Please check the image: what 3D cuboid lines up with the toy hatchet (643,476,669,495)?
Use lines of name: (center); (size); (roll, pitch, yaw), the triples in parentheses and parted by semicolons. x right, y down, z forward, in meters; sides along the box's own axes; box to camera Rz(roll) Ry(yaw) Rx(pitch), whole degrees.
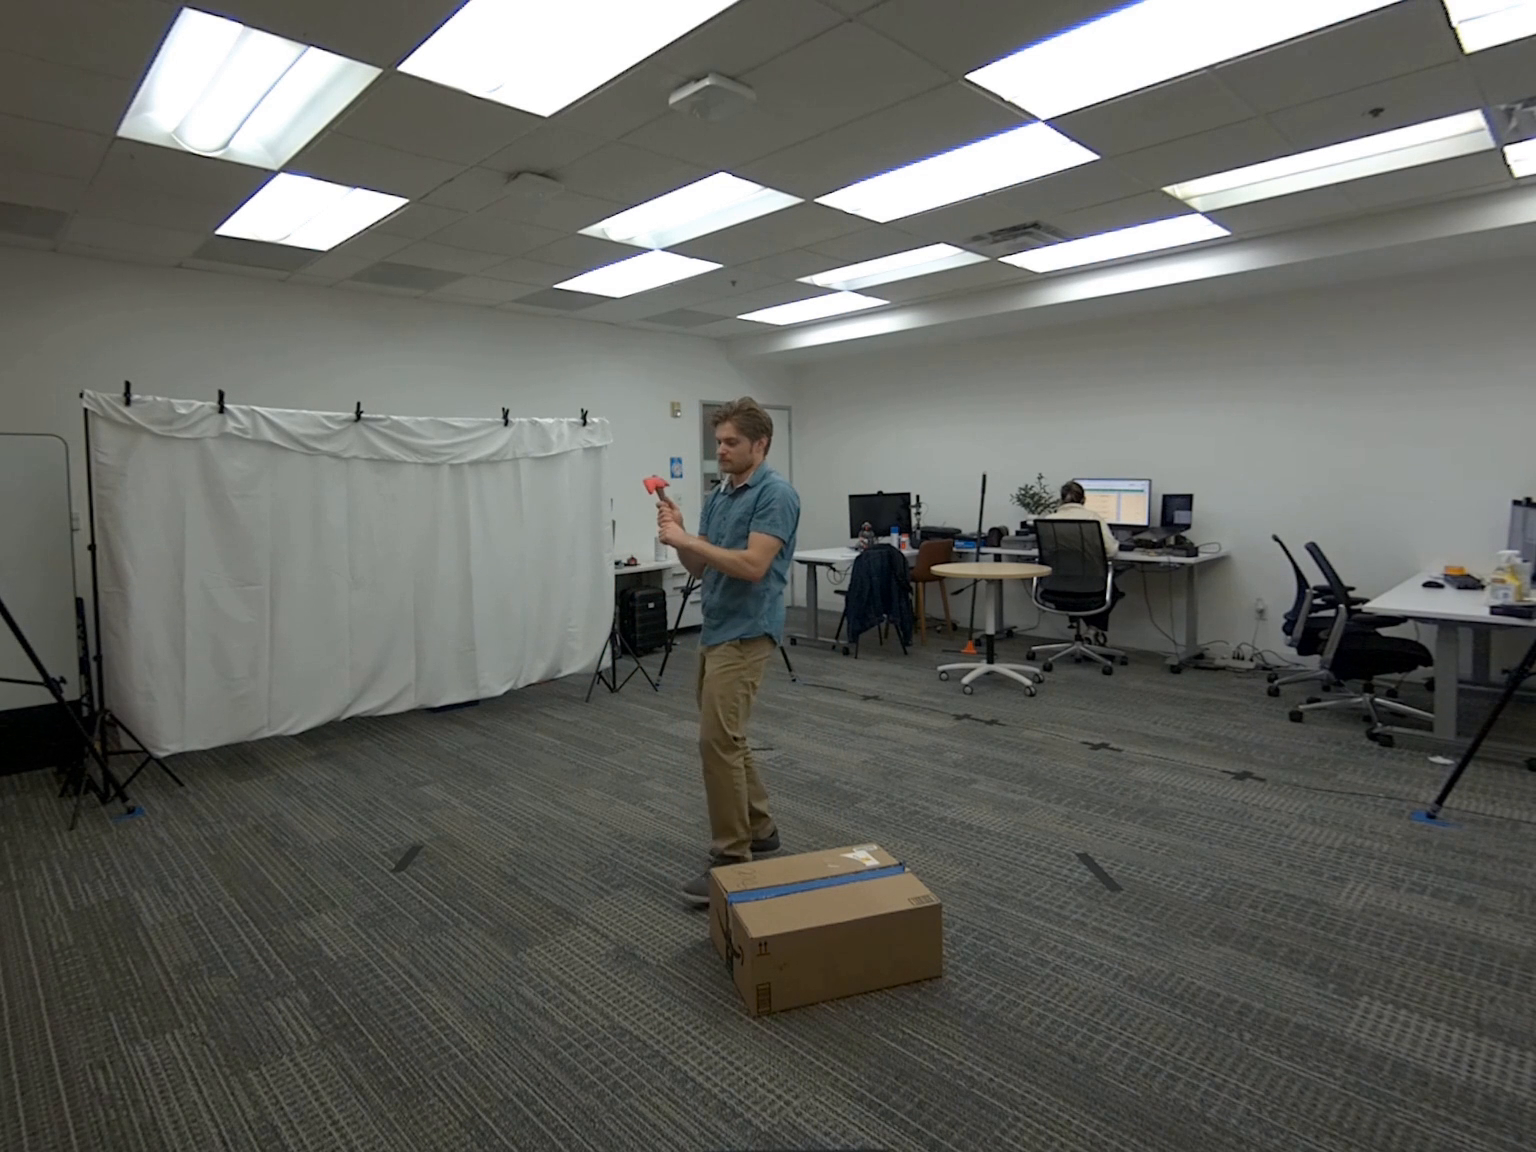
toy hatchet: (-0.382, -0.241, 3.000); (0.030, 0.278, 0.126); (-33, -38, 29)
